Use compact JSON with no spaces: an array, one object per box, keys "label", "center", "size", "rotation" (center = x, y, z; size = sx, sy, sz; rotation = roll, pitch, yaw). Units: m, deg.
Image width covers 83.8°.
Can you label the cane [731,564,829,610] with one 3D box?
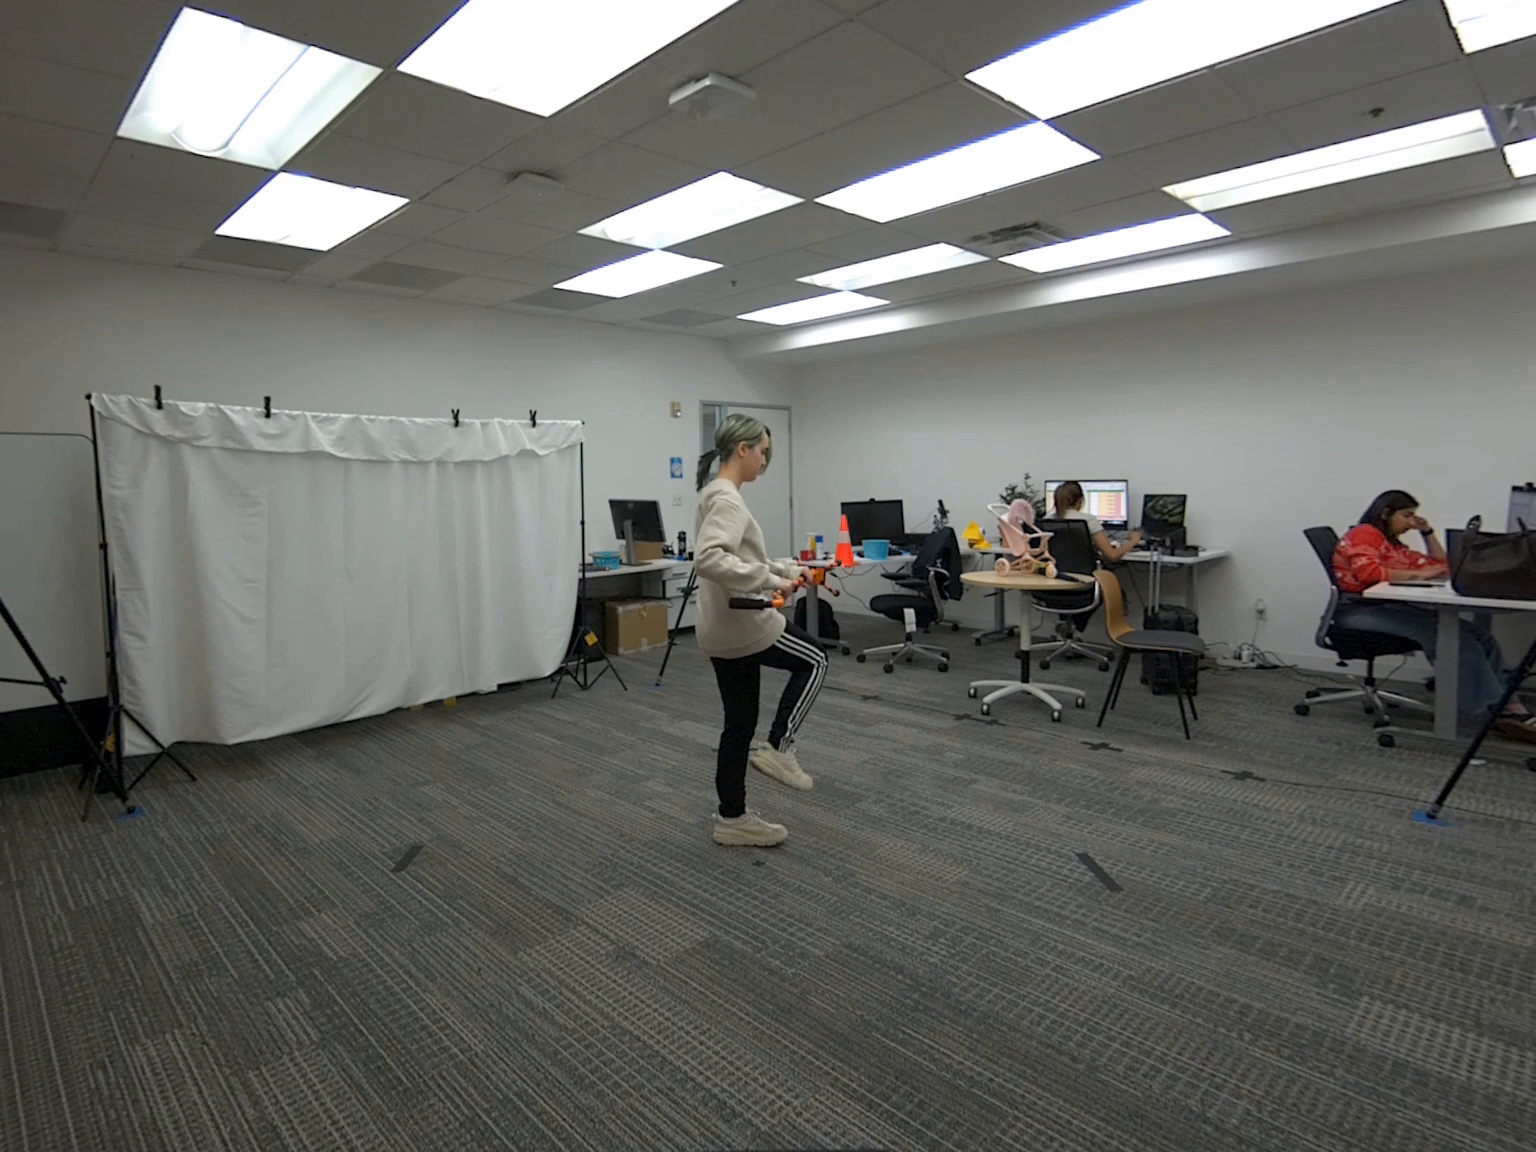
[{"label":"cane","center":[0.107,0.053,3.038],"size":[0.209,0.151,0.898],"rotation":[3,6,13]}]
